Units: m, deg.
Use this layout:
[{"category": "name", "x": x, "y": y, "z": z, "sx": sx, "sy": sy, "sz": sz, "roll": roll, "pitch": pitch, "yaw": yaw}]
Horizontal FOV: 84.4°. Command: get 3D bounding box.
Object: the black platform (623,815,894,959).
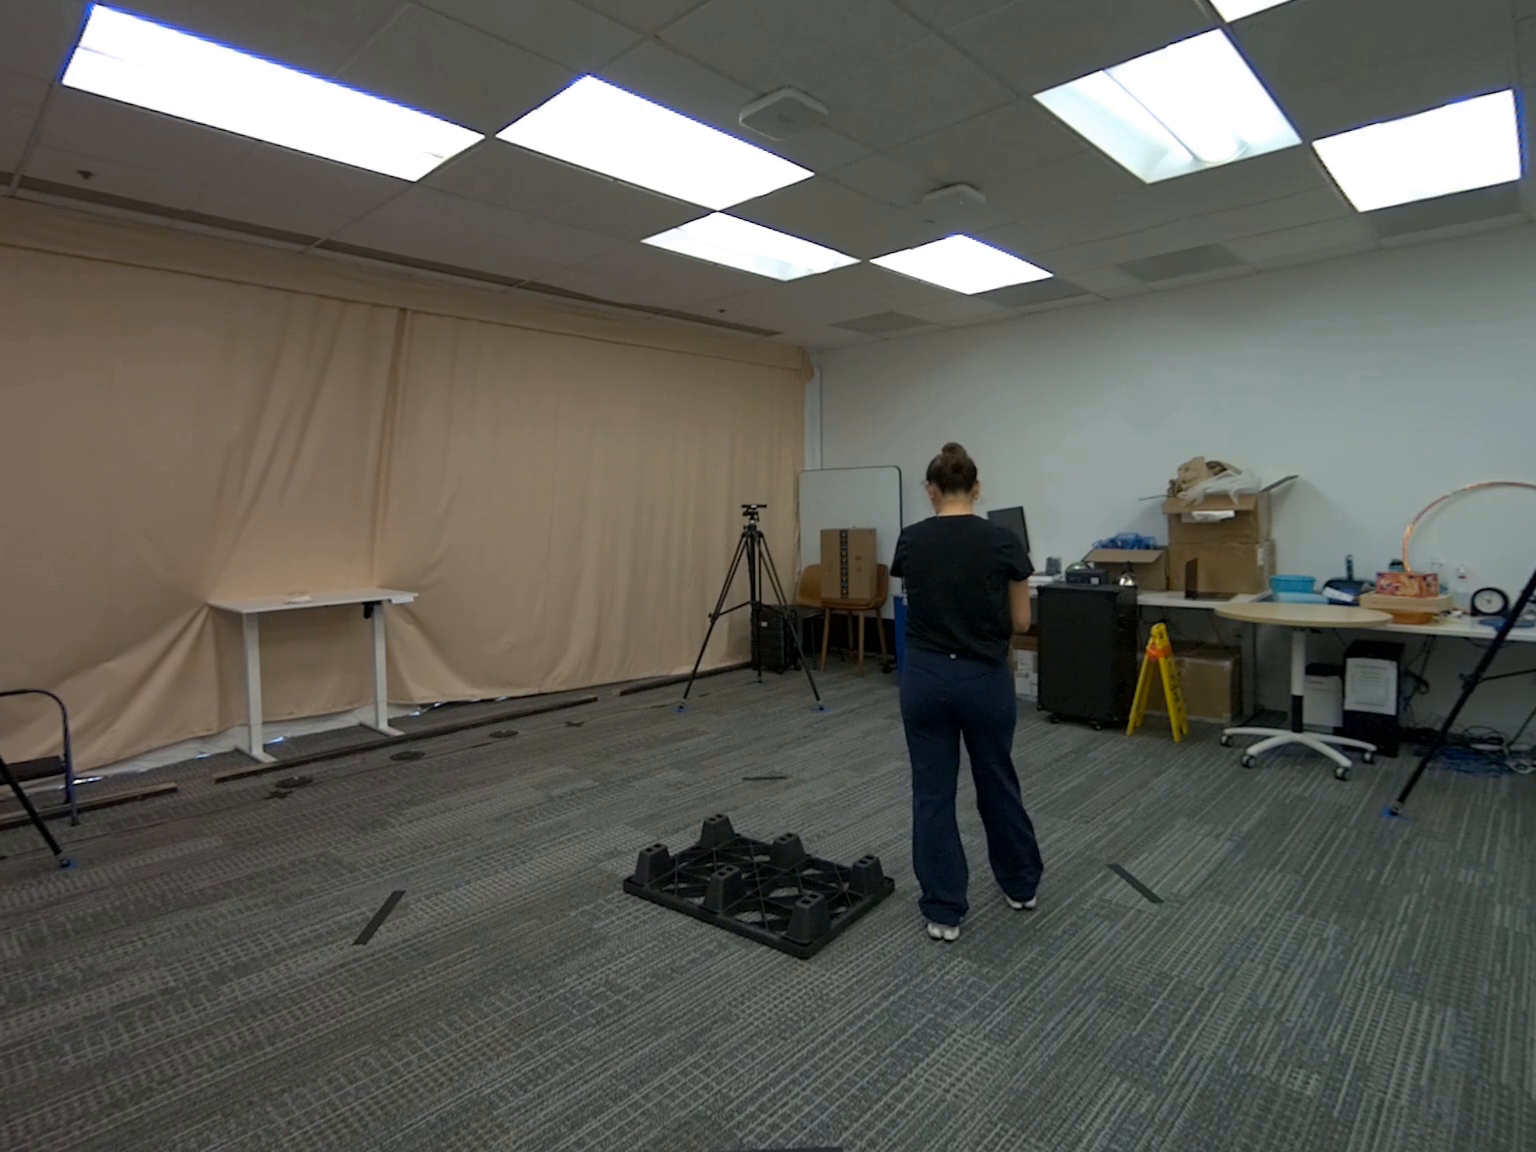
[{"category": "black platform", "x": -0.015, "y": 1.069, "z": 3.038, "sx": 0.831, "sy": 0.143, "sz": 0.588, "roll": 3, "pitch": 7, "yaw": 37}]
